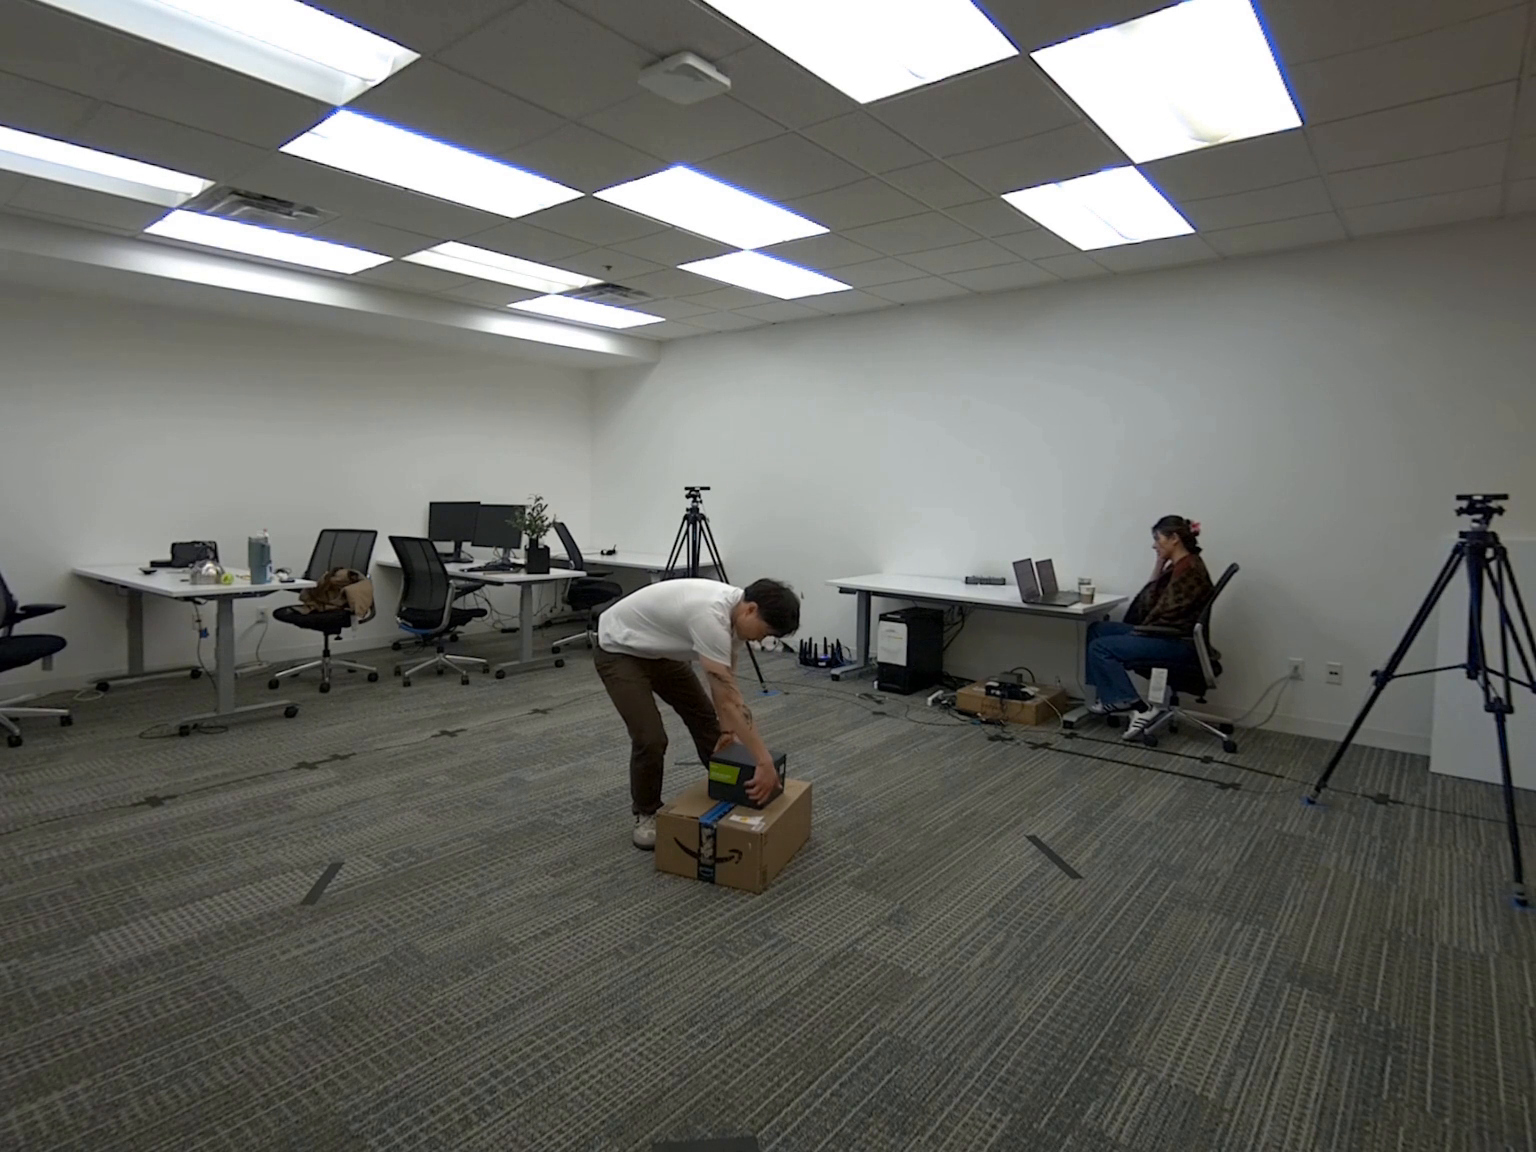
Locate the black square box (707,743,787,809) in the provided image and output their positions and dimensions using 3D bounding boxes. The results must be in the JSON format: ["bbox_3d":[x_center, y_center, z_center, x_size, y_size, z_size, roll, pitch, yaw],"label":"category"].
[{"bbox_3d":[-0.092,0.751,3.246,0.234,0.155,0.212,6,6,24],"label":"black square box"}]
